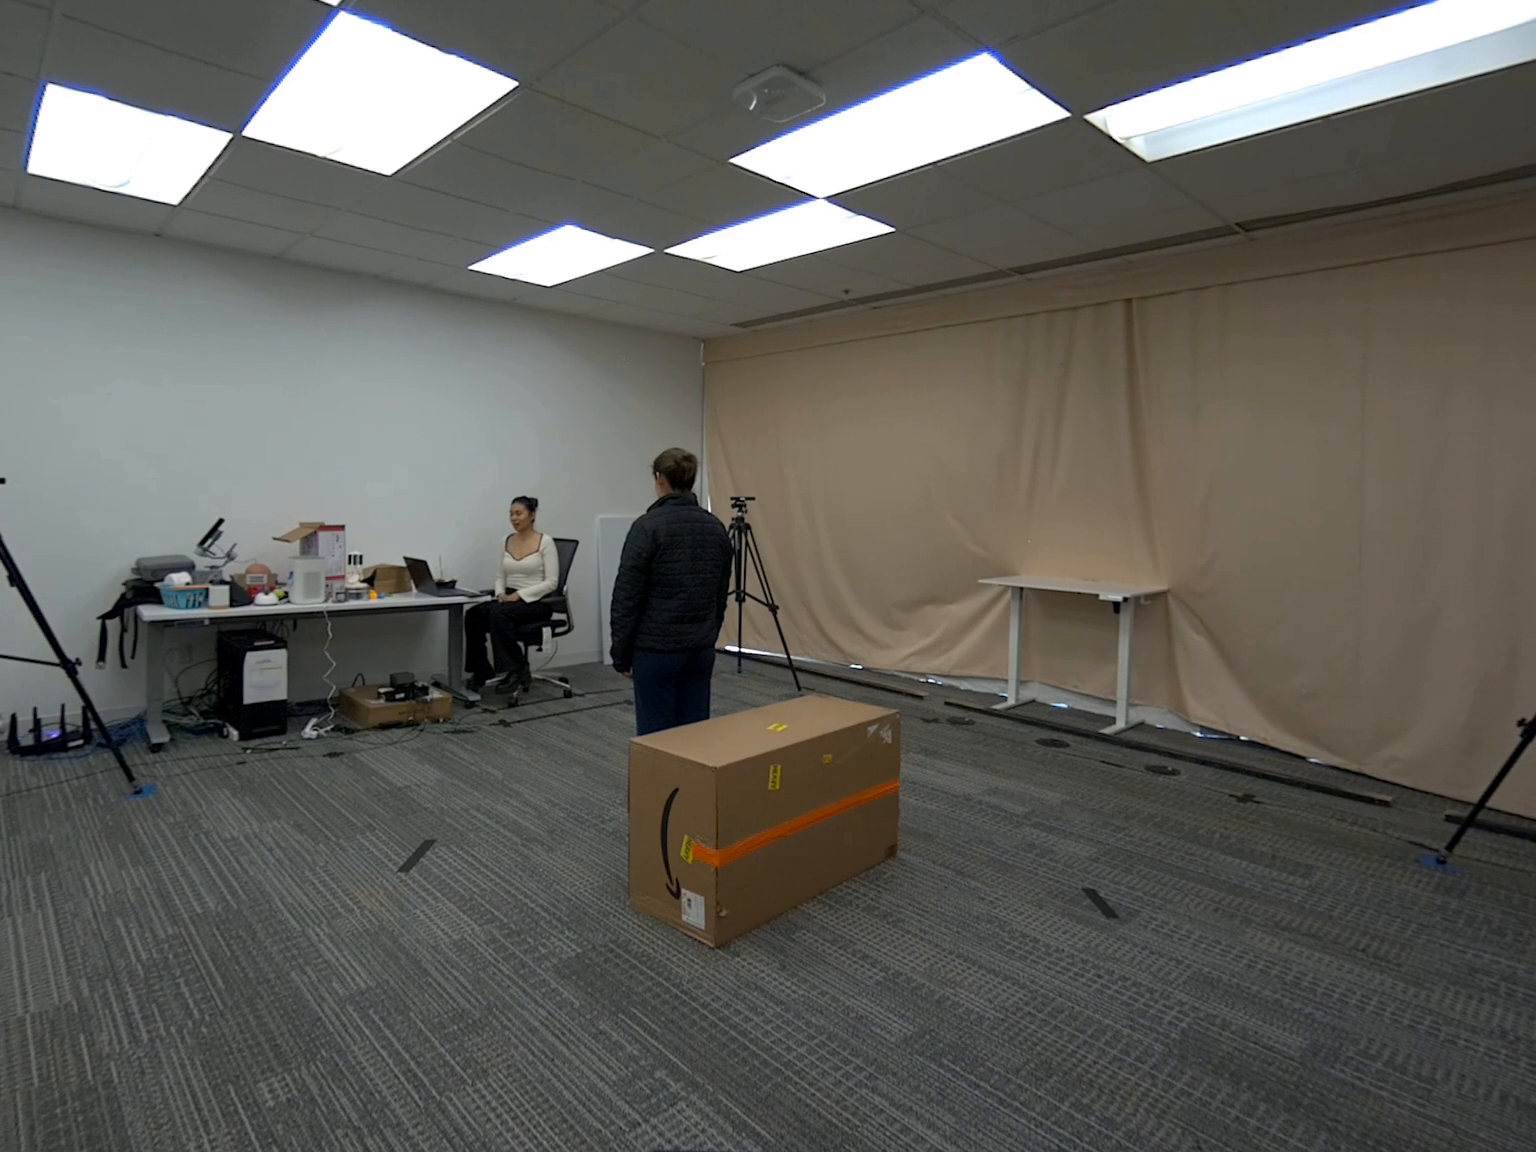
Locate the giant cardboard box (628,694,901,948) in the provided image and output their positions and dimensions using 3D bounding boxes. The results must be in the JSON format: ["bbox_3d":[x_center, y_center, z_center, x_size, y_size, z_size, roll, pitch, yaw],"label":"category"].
[{"bbox_3d":[0.021,0.829,3.071,0.437,0.576,1.003,3,5,43],"label":"giant cardboard box"}]
